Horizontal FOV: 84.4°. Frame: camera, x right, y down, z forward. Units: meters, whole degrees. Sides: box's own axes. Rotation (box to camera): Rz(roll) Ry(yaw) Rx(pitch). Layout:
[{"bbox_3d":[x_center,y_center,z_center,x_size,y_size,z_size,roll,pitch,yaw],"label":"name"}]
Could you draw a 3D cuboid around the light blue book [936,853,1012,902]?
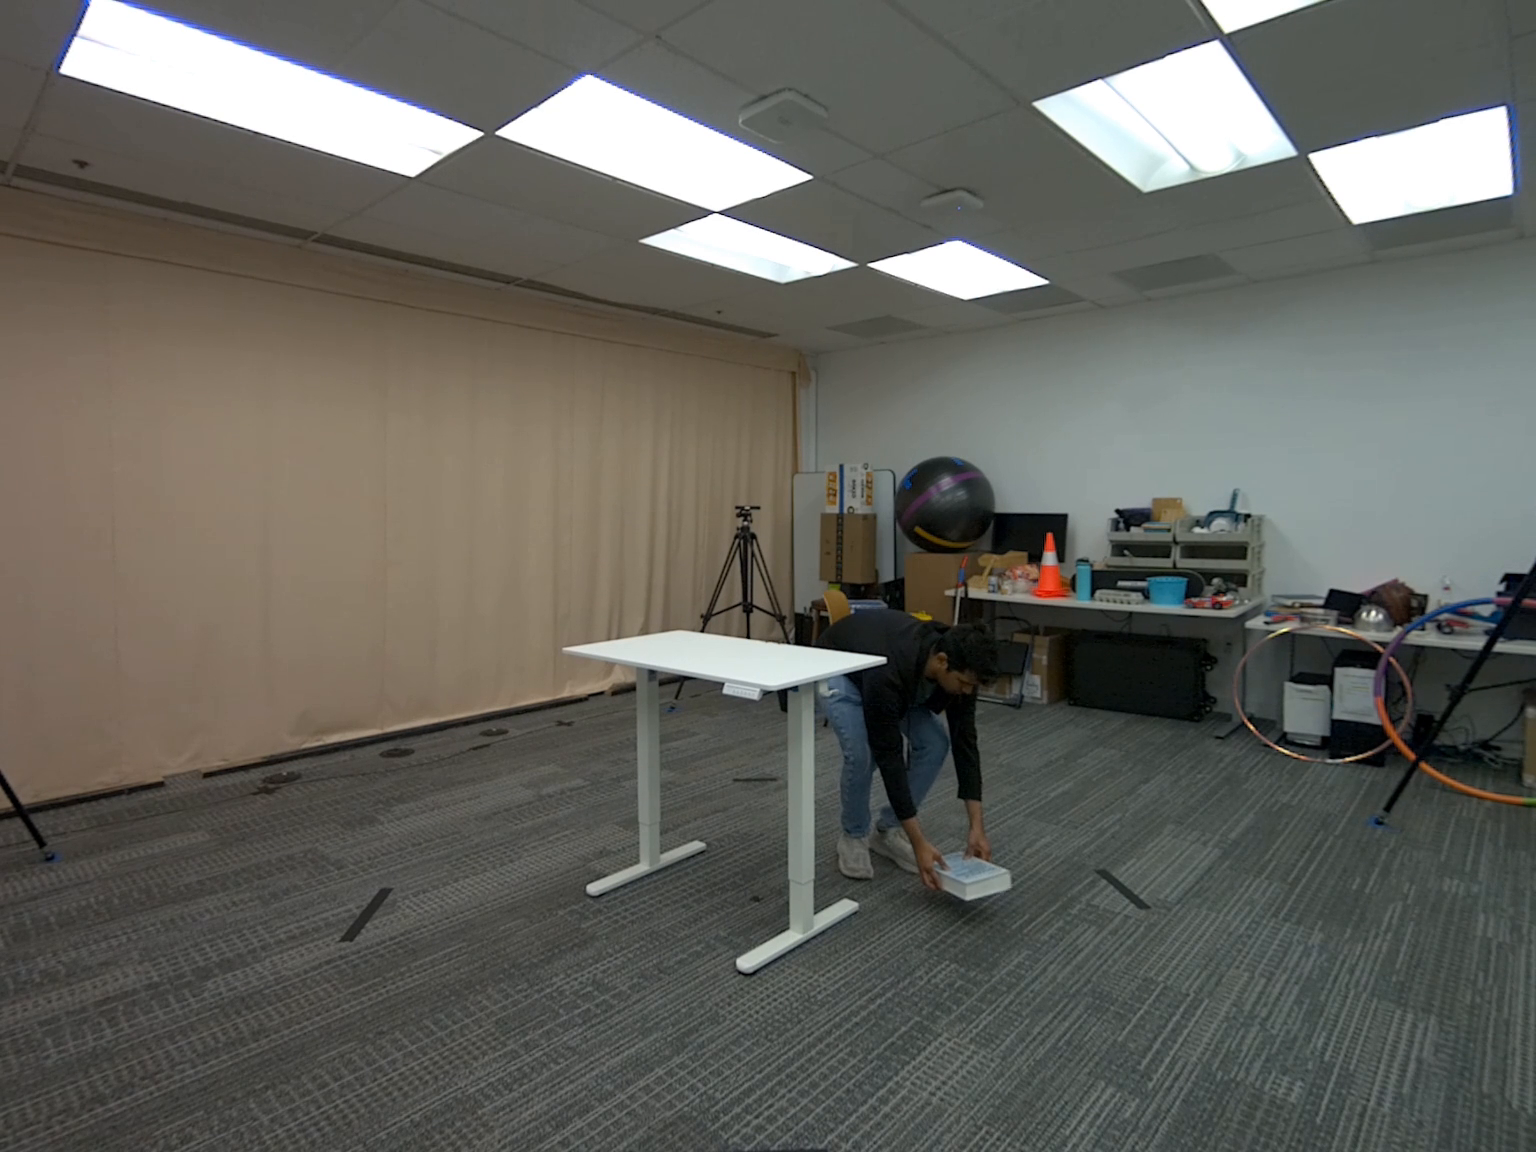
[{"bbox_3d":[0.674,1.011,2.895,0.187,0.059,0.266,-6,1,-24],"label":"light blue book"}]
